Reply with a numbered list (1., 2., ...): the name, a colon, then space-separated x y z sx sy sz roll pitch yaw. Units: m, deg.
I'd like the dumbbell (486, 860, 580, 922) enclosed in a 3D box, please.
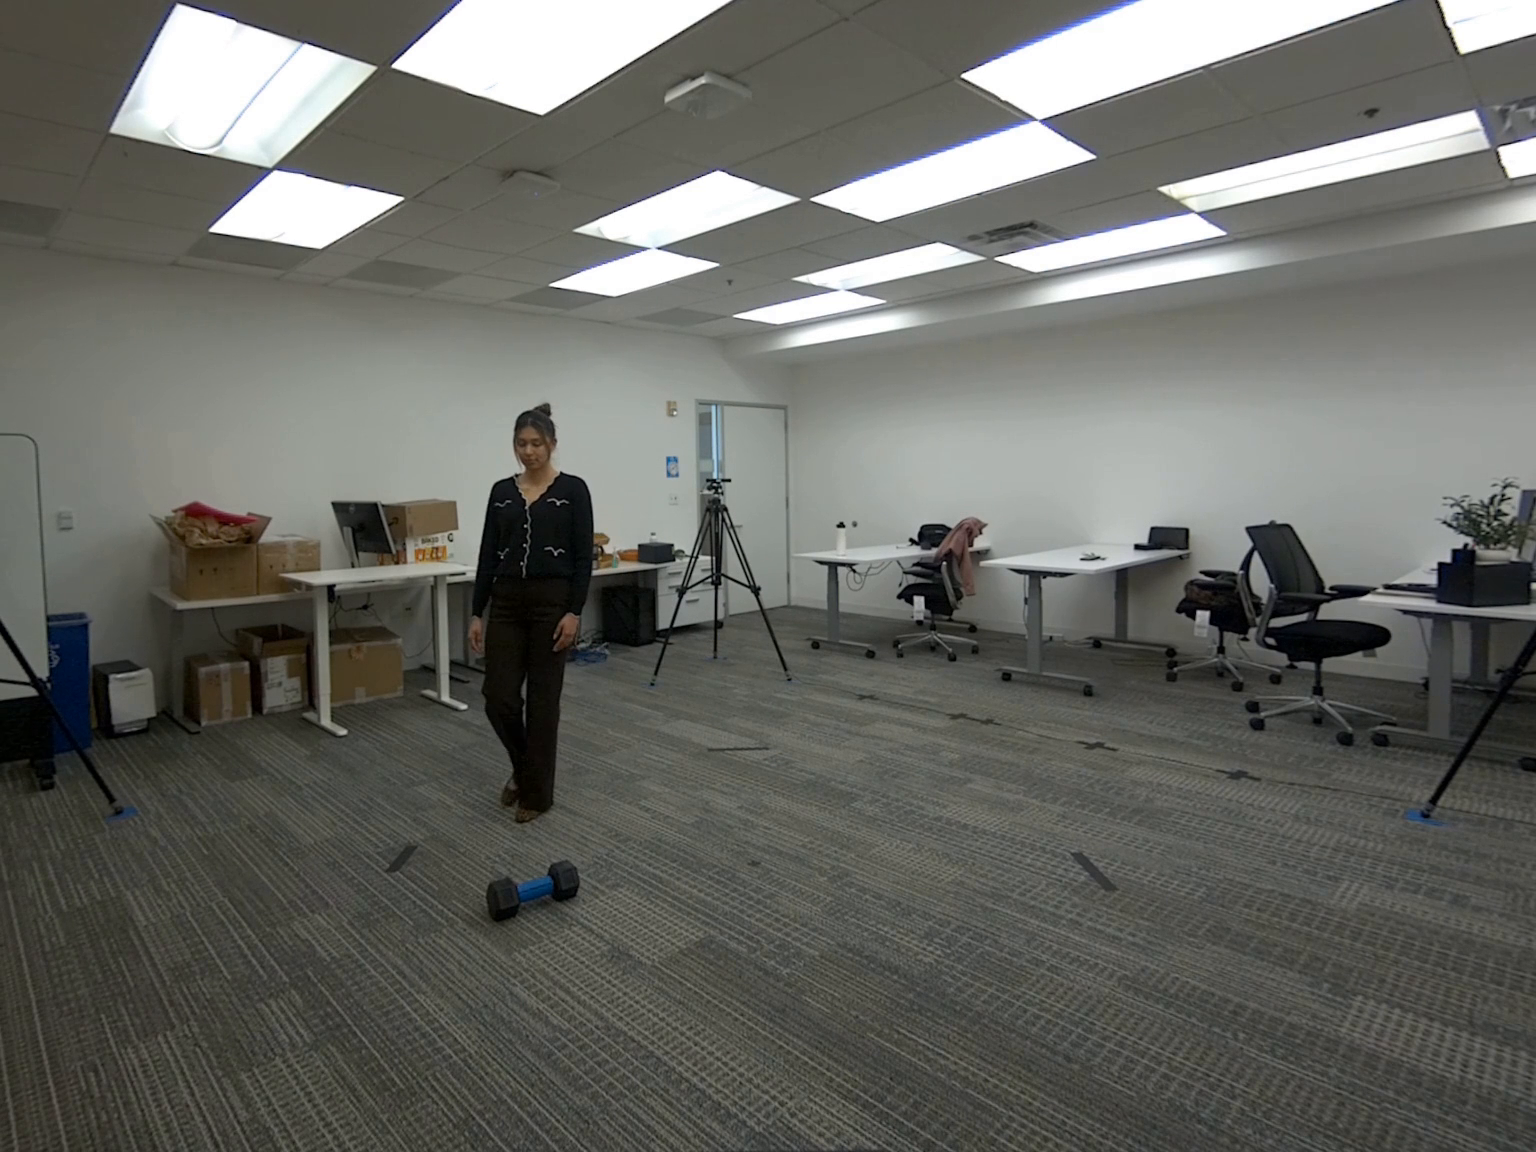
1. dumbbell: -0.771 1.036 2.823 0.286 0.126 0.109 -6 -24 -36
